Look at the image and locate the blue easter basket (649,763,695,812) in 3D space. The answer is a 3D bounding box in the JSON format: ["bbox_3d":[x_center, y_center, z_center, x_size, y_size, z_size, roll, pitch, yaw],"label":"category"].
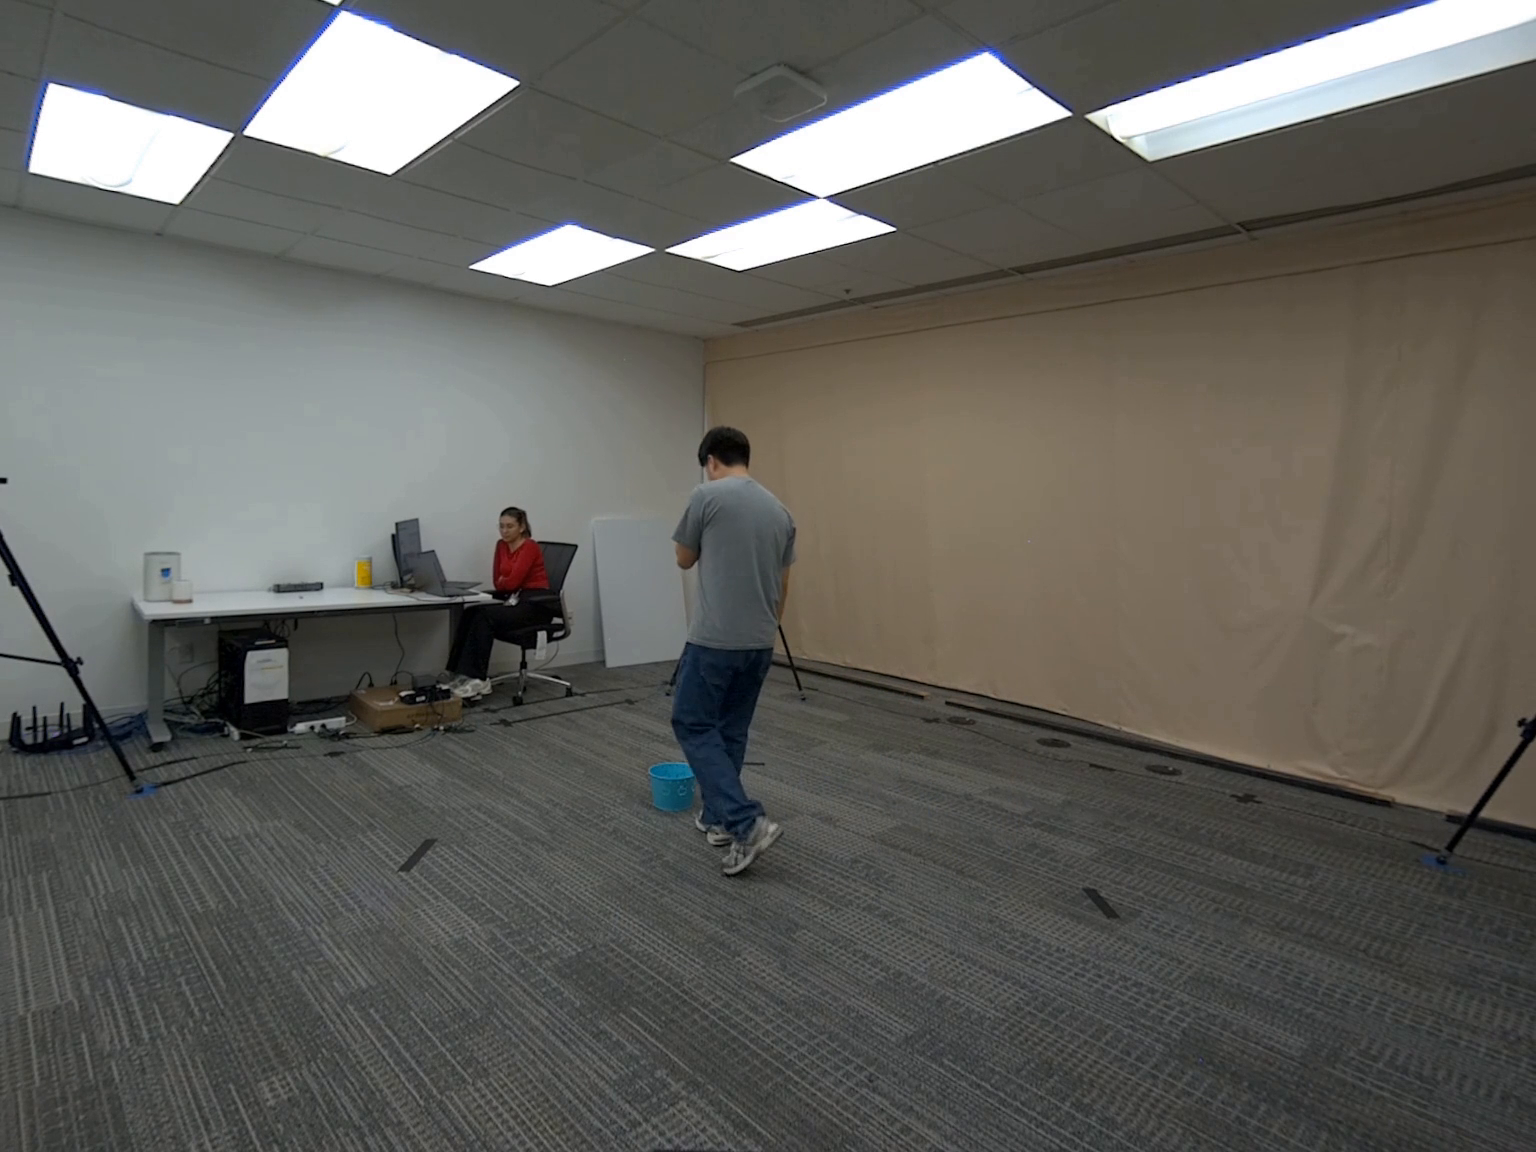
[{"bbox_3d":[-0.437,0.957,3.834,0.243,0.155,0.244,2,5,-2],"label":"blue easter basket"}]
